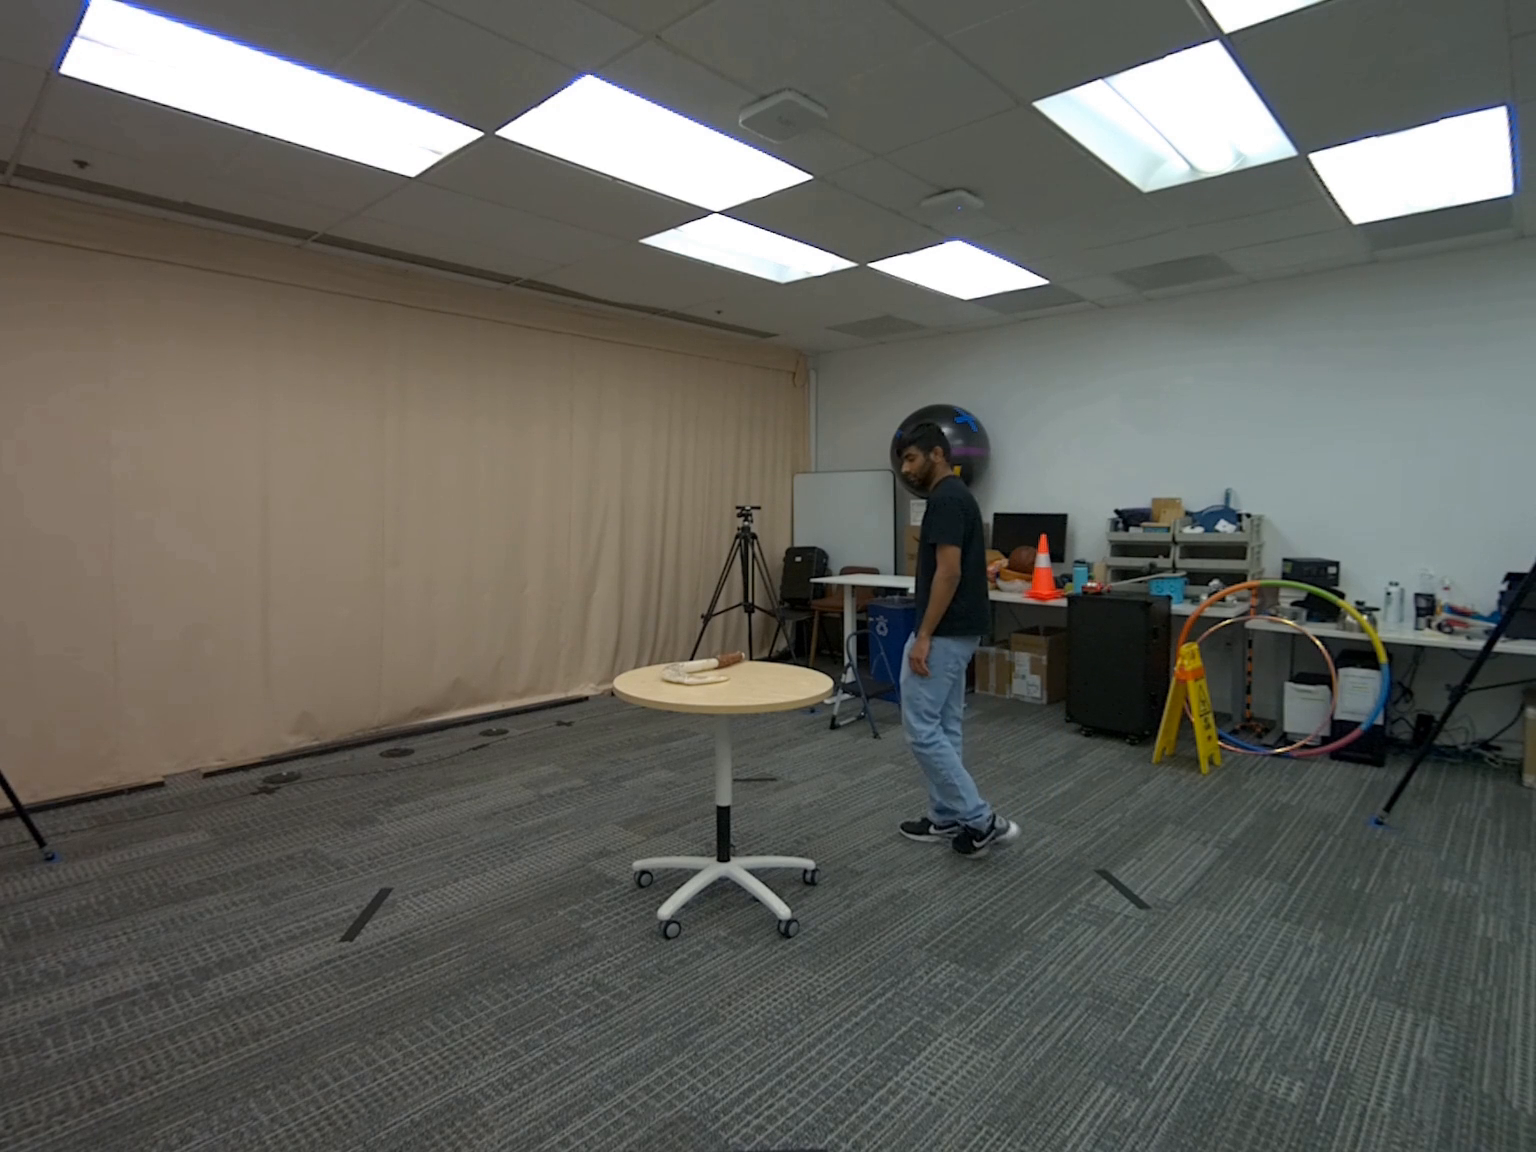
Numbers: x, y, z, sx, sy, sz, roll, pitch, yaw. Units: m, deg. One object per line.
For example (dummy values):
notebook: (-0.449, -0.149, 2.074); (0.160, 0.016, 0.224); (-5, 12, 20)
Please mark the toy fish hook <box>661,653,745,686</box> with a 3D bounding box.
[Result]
toy fish hook: (-0.191, 0.341, 3.083); (0.231, 0.048, 0.493); (7, 8, 31)
